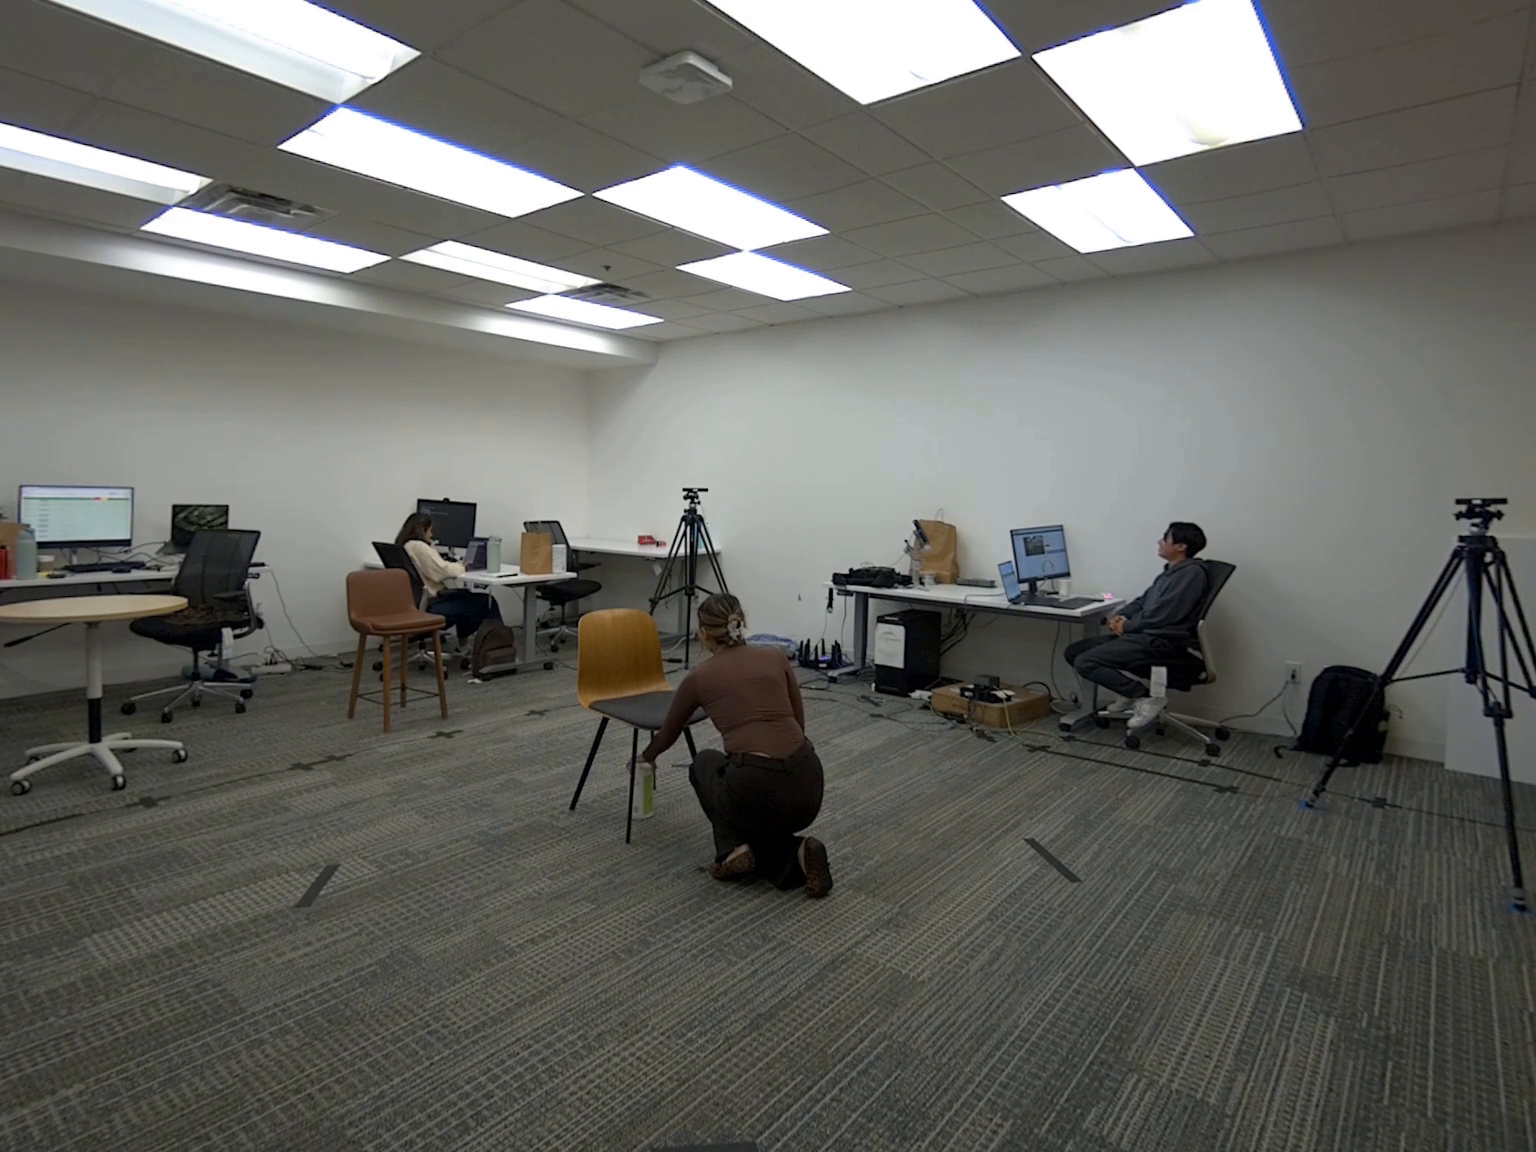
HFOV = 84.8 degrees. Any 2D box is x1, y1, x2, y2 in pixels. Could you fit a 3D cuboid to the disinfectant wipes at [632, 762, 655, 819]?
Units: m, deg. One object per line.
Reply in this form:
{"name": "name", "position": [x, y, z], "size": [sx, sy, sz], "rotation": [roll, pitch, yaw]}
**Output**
{"name": "disinfectant wipes", "position": [-0.549, 0.916, 3.617], "size": [0.118, 0.217, 0.118], "rotation": [1, 4, -2]}
